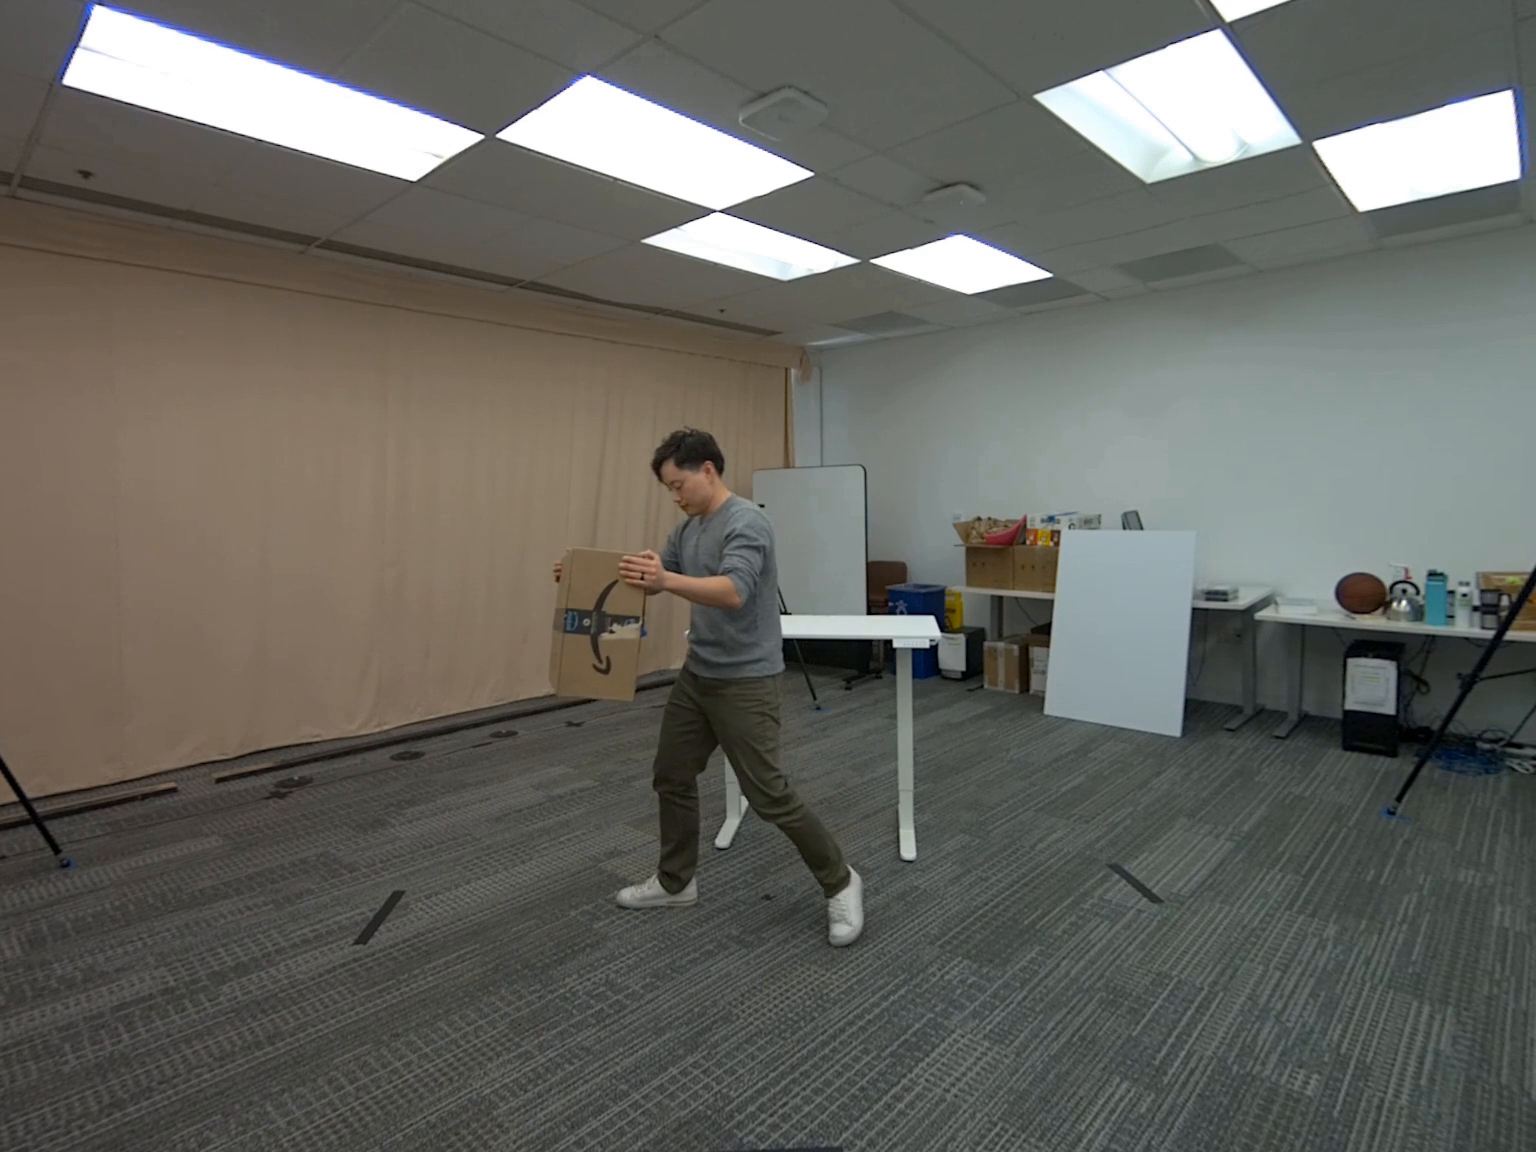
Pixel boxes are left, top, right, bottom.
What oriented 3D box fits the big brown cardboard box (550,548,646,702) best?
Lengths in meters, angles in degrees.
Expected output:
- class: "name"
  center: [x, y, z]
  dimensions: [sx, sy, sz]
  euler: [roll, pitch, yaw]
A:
- class: "big brown cardboard box"
  center: [-0.531, 0.148, 2.618]
  dimensions: [0.229, 0.418, 0.597]
  euler: [7, -4, -15]
